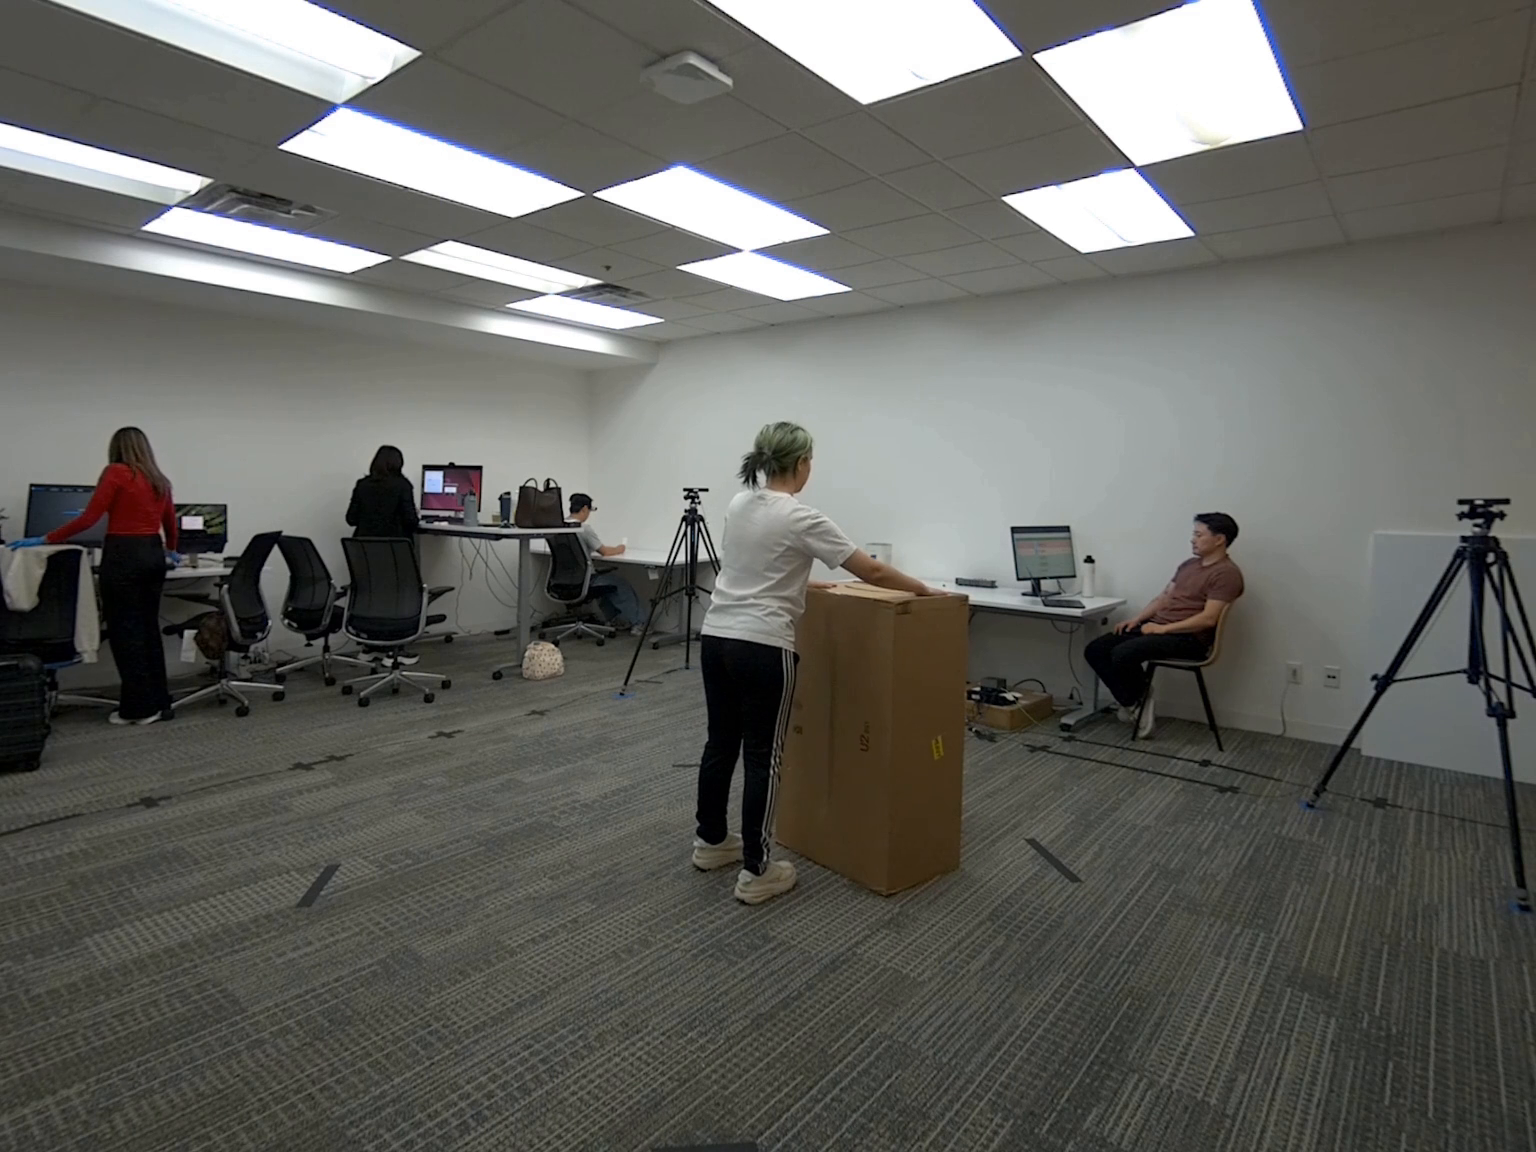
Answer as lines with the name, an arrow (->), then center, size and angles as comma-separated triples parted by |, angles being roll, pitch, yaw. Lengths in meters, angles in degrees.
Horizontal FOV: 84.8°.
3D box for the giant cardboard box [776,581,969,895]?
giant cardboard box -> 0.381, 0.561, 3.257 | 0.433, 1.024, 0.603 | -2, 4, -41
